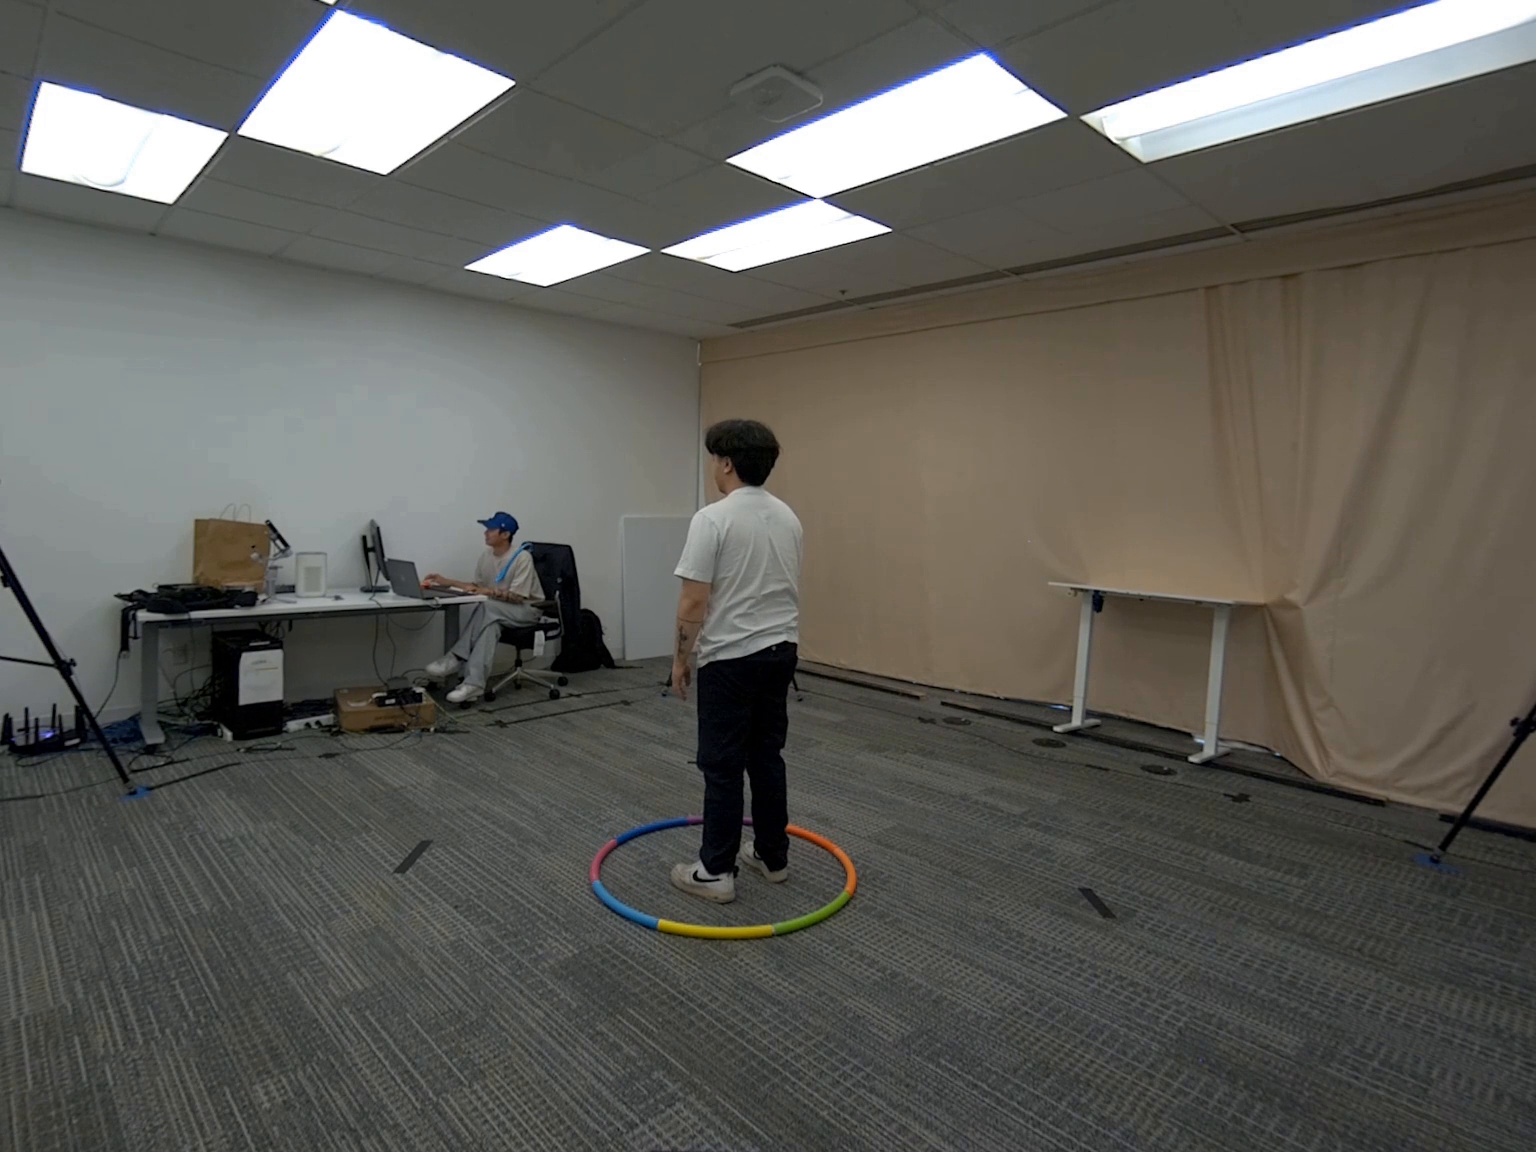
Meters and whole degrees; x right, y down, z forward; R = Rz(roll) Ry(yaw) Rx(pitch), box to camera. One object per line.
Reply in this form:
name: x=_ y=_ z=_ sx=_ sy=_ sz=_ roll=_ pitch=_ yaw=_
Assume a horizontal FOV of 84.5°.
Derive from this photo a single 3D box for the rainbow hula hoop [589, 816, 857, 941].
rainbow hula hoop: x=-0.170 y=1.077 z=3.136 sx=0.985 sy=0.051 sz=0.989 roll=1 pitch=5 yaw=-1
